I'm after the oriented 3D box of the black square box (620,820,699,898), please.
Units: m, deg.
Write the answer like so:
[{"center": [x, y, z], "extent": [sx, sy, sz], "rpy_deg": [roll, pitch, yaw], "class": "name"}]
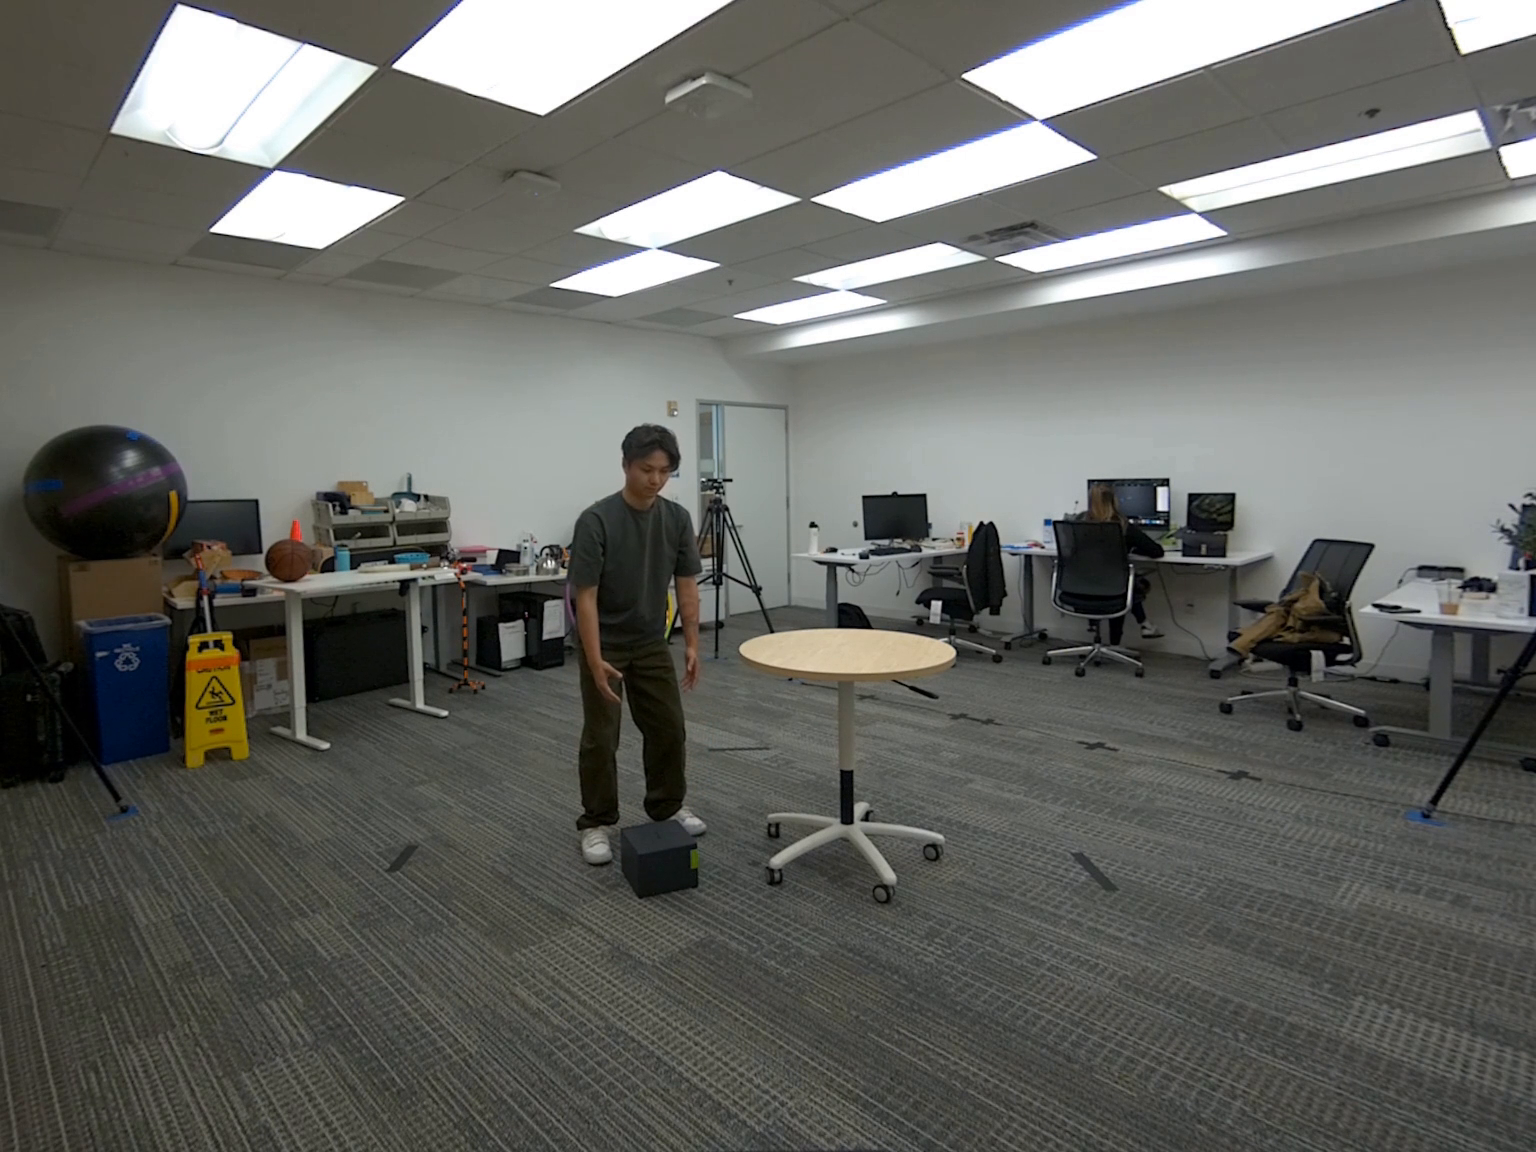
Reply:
[{"center": [-0.379, 0.981, 2.990], "extent": [0.212, 0.155, 0.234], "rpy_deg": [-3, 7, -24], "class": "black square box"}]
